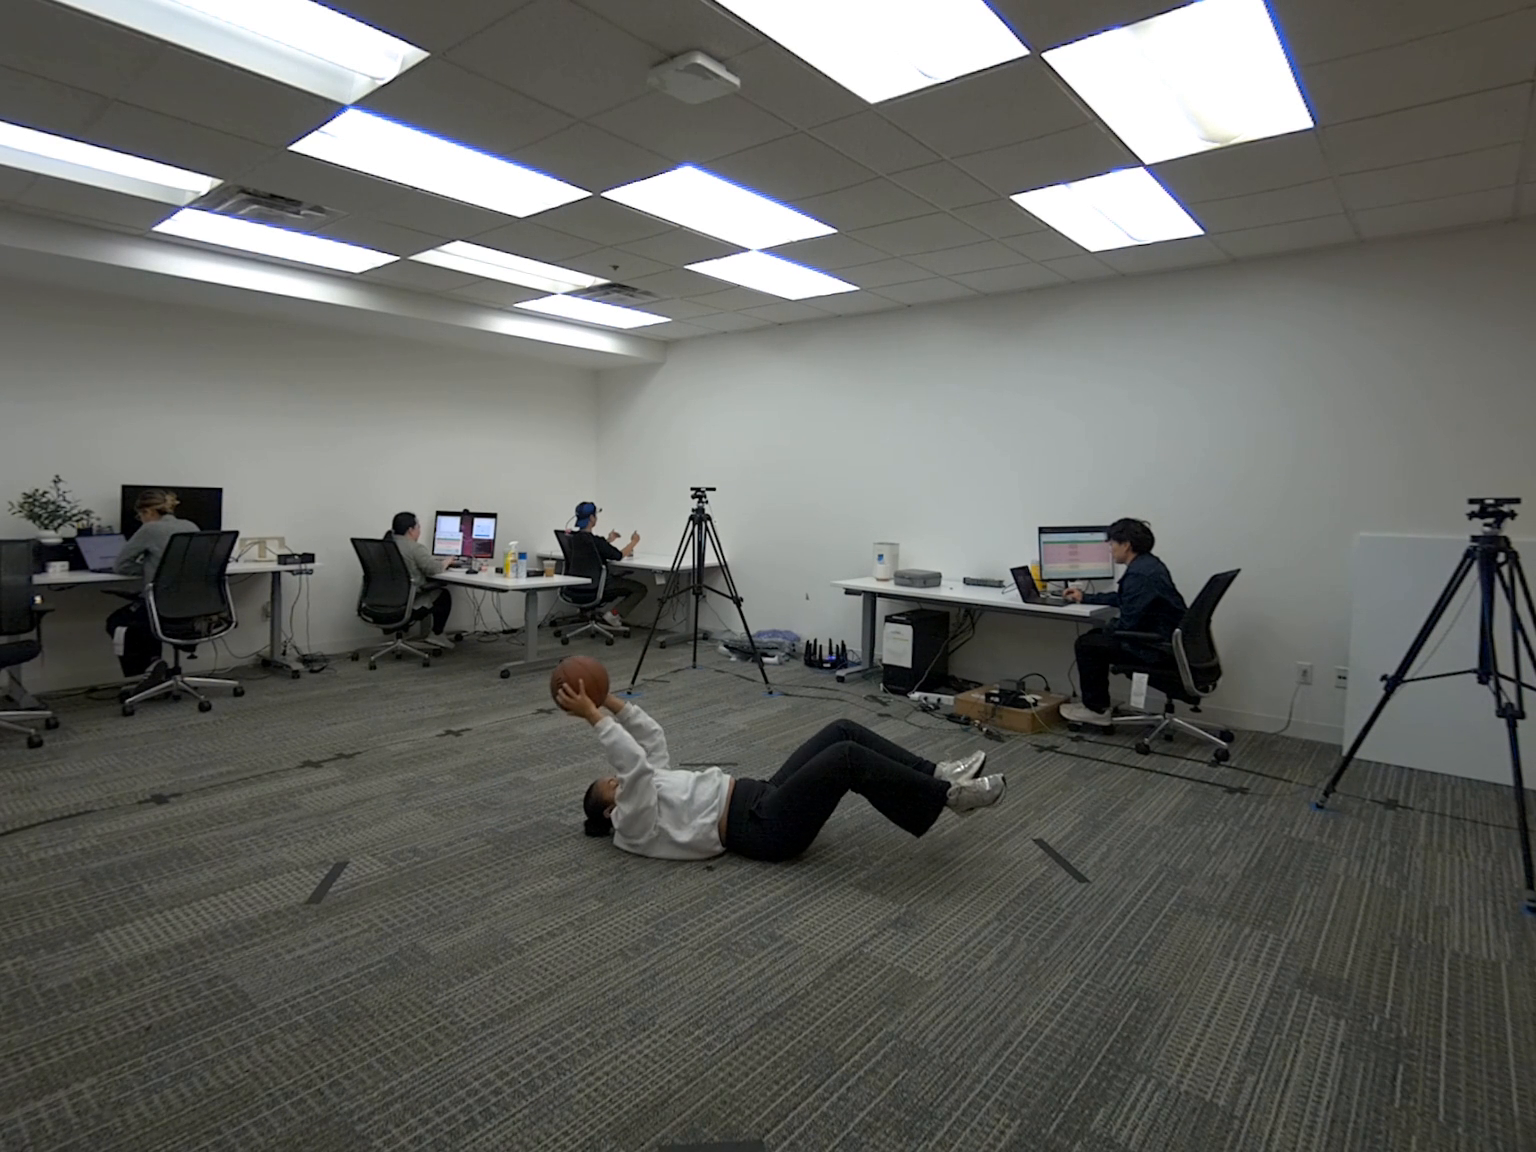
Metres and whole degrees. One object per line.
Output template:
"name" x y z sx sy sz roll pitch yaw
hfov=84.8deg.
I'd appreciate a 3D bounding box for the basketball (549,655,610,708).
"basketball" -0.759 0.442 3.431 0.236 0.235 0.237 0 4 -2
